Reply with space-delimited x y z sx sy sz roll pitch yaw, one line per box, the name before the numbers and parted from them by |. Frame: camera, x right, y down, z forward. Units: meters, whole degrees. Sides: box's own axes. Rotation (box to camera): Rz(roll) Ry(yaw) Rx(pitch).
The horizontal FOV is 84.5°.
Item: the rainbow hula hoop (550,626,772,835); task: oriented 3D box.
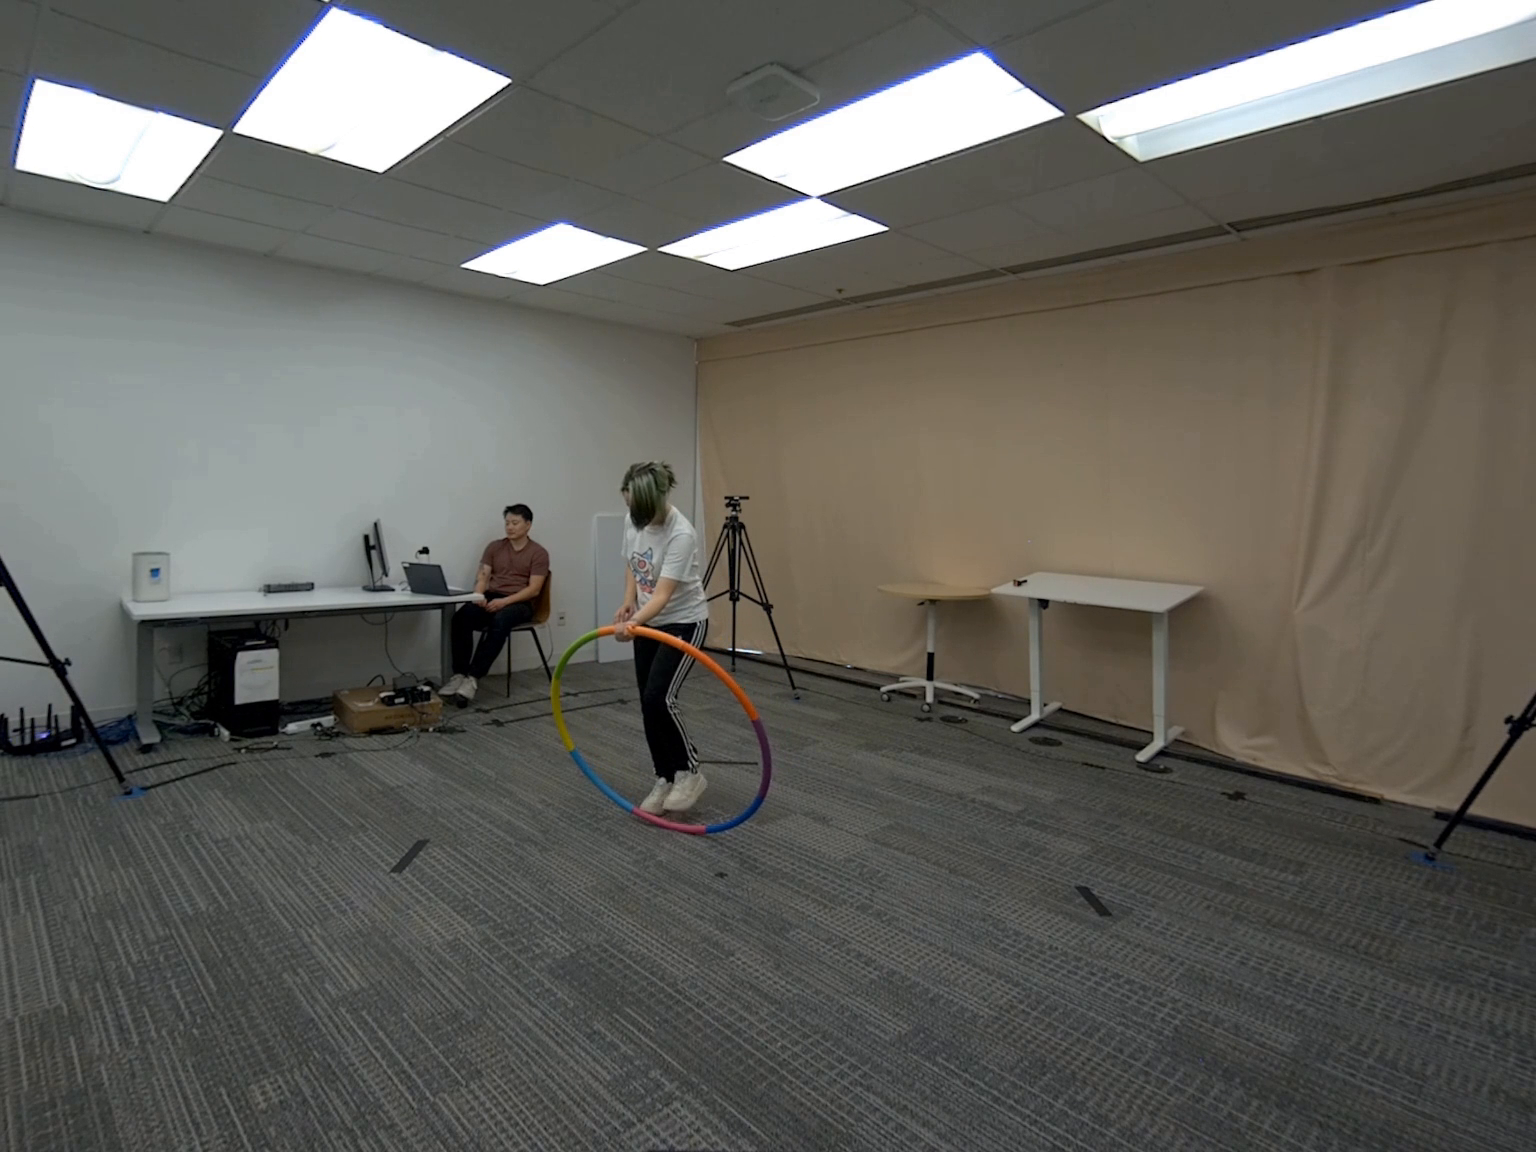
rainbow hula hoop | -0.446 0.628 3.326 0.998 0.960 0.035 4 27 27
